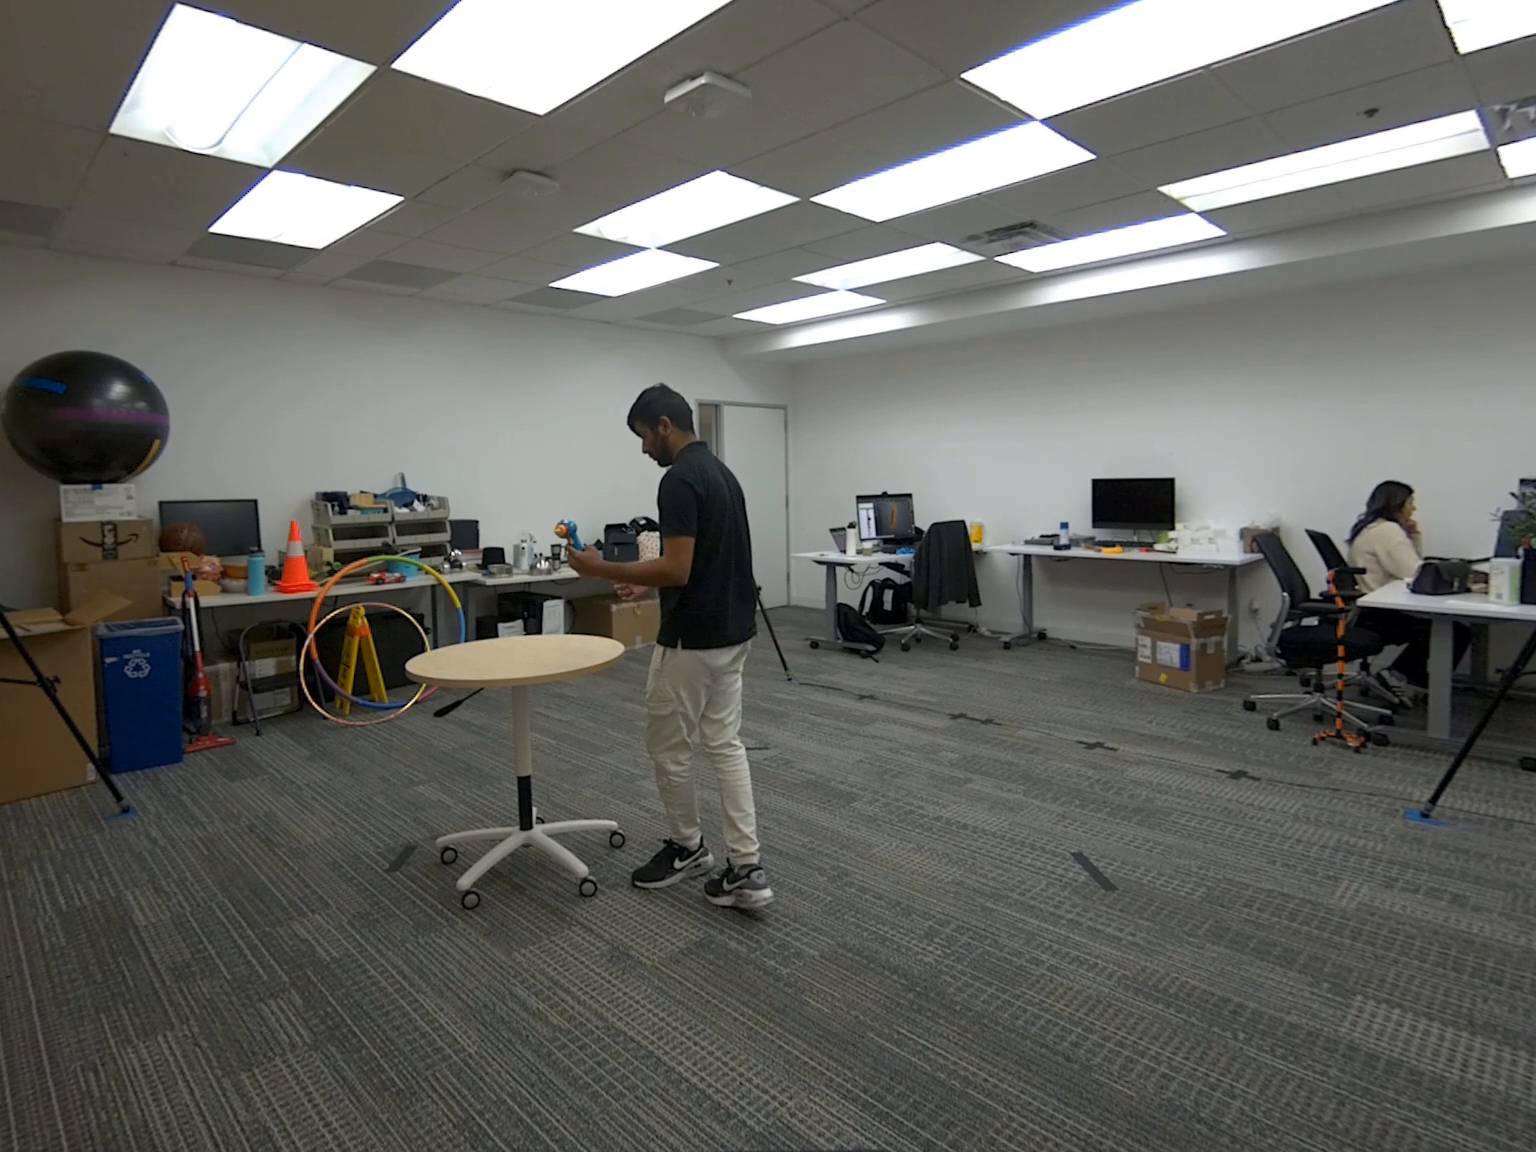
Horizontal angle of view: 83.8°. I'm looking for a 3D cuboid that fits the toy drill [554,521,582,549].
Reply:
[{"bbox_3d":[-0.629,-0.114,2.744,0.061,0.145,0.170,-25,5,9],"label":"toy drill"}]
